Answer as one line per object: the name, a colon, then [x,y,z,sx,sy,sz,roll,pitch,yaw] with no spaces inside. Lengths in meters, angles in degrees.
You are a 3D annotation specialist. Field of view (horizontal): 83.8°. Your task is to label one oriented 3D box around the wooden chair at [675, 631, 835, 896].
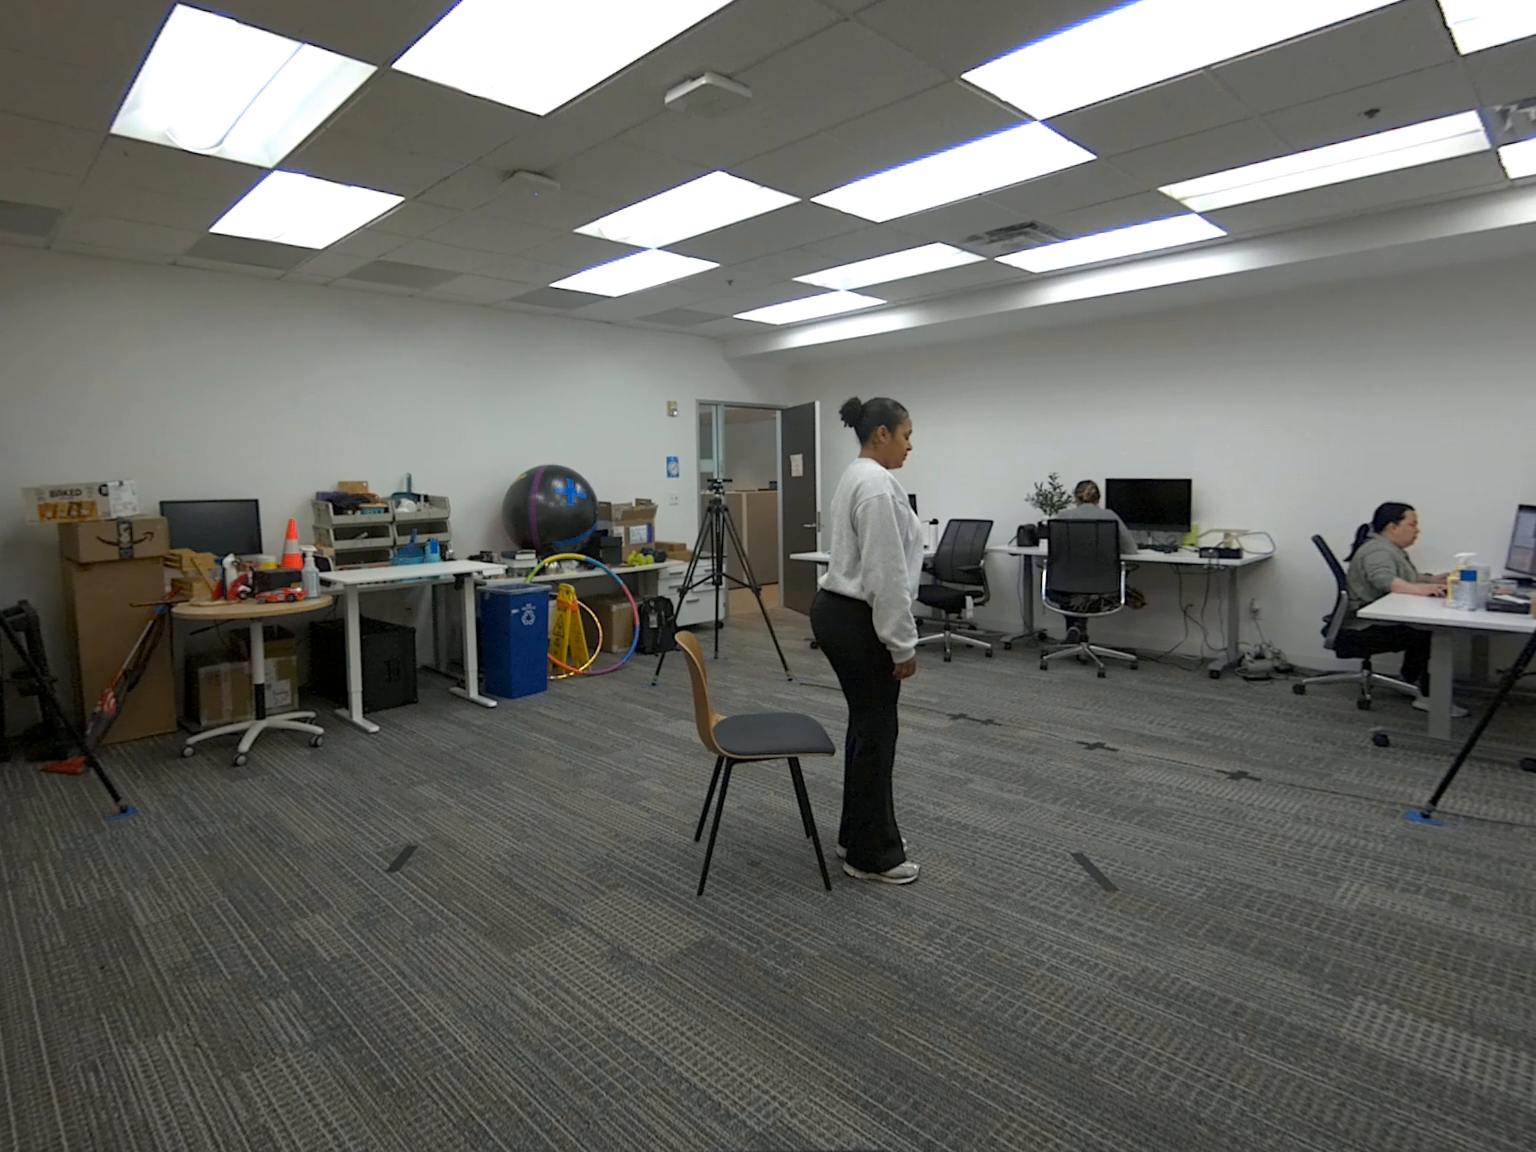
wooden chair: [-0.035,0.618,3.070,0.521,0.874,0.482,-5,4,-5]
